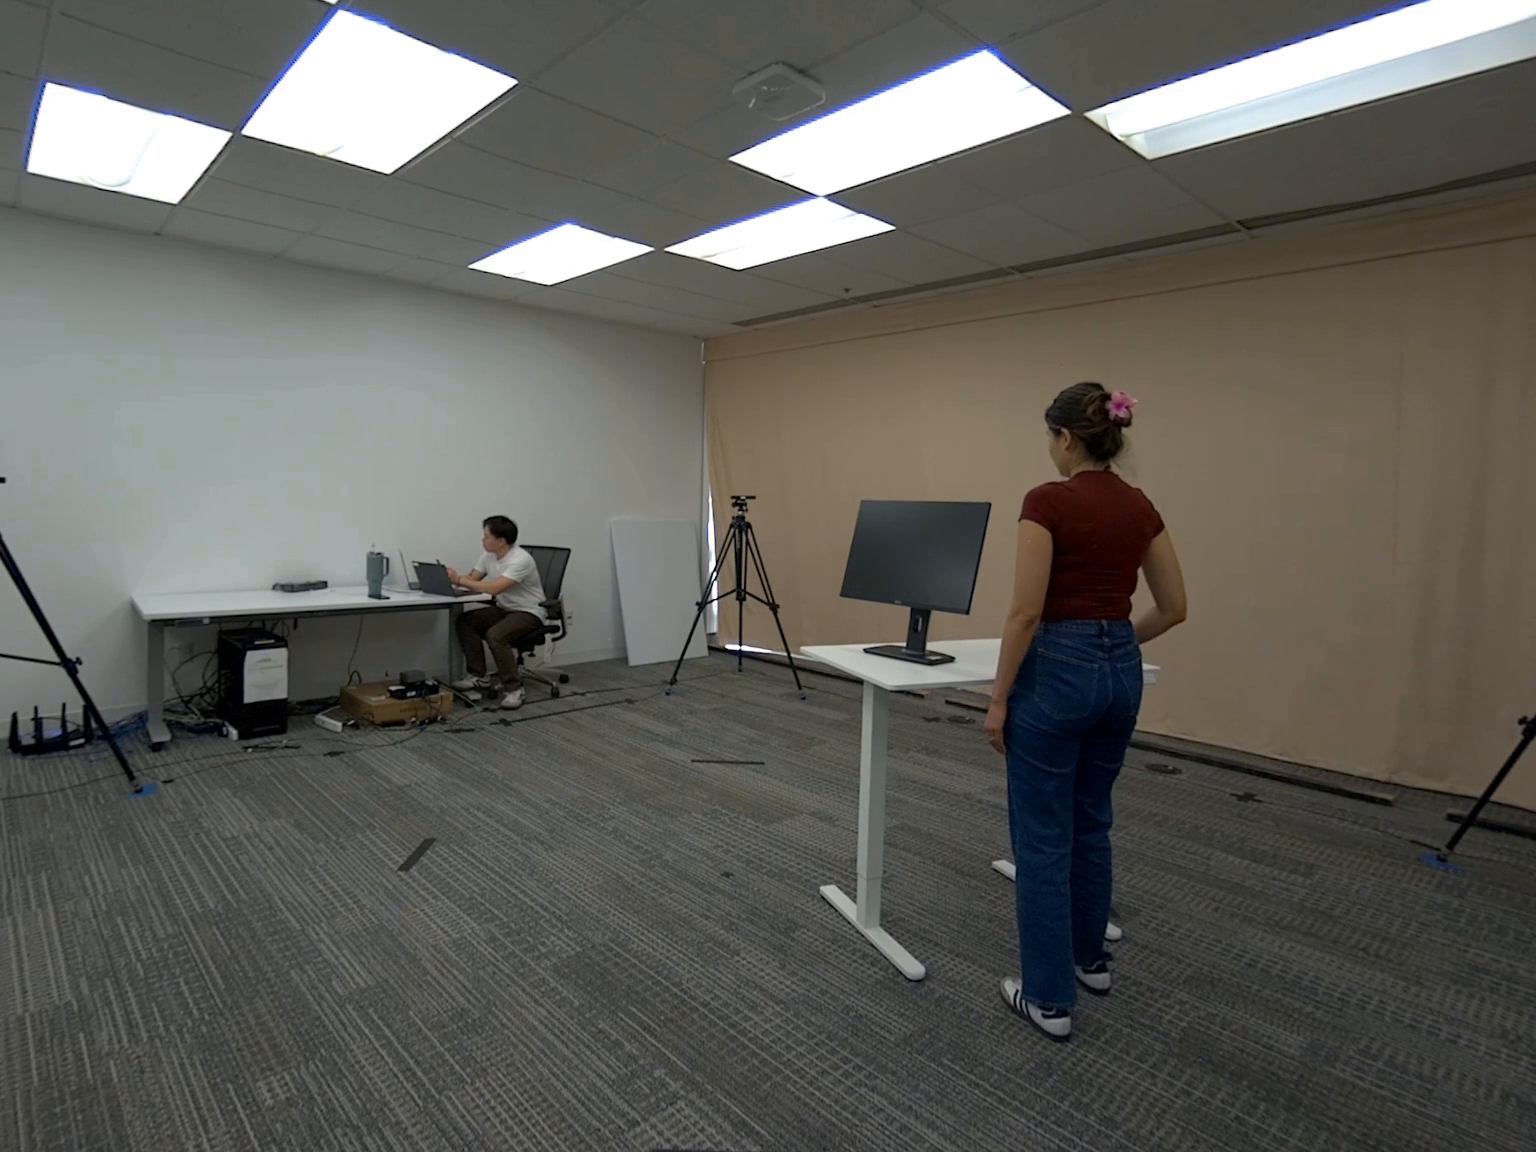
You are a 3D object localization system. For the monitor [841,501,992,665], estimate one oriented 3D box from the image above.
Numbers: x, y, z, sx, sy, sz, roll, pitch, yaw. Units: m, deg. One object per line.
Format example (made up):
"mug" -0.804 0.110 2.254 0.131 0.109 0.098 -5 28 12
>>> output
"monitor" 0.481 0.016 2.765 0.182 0.522 0.553 2 3 -40
